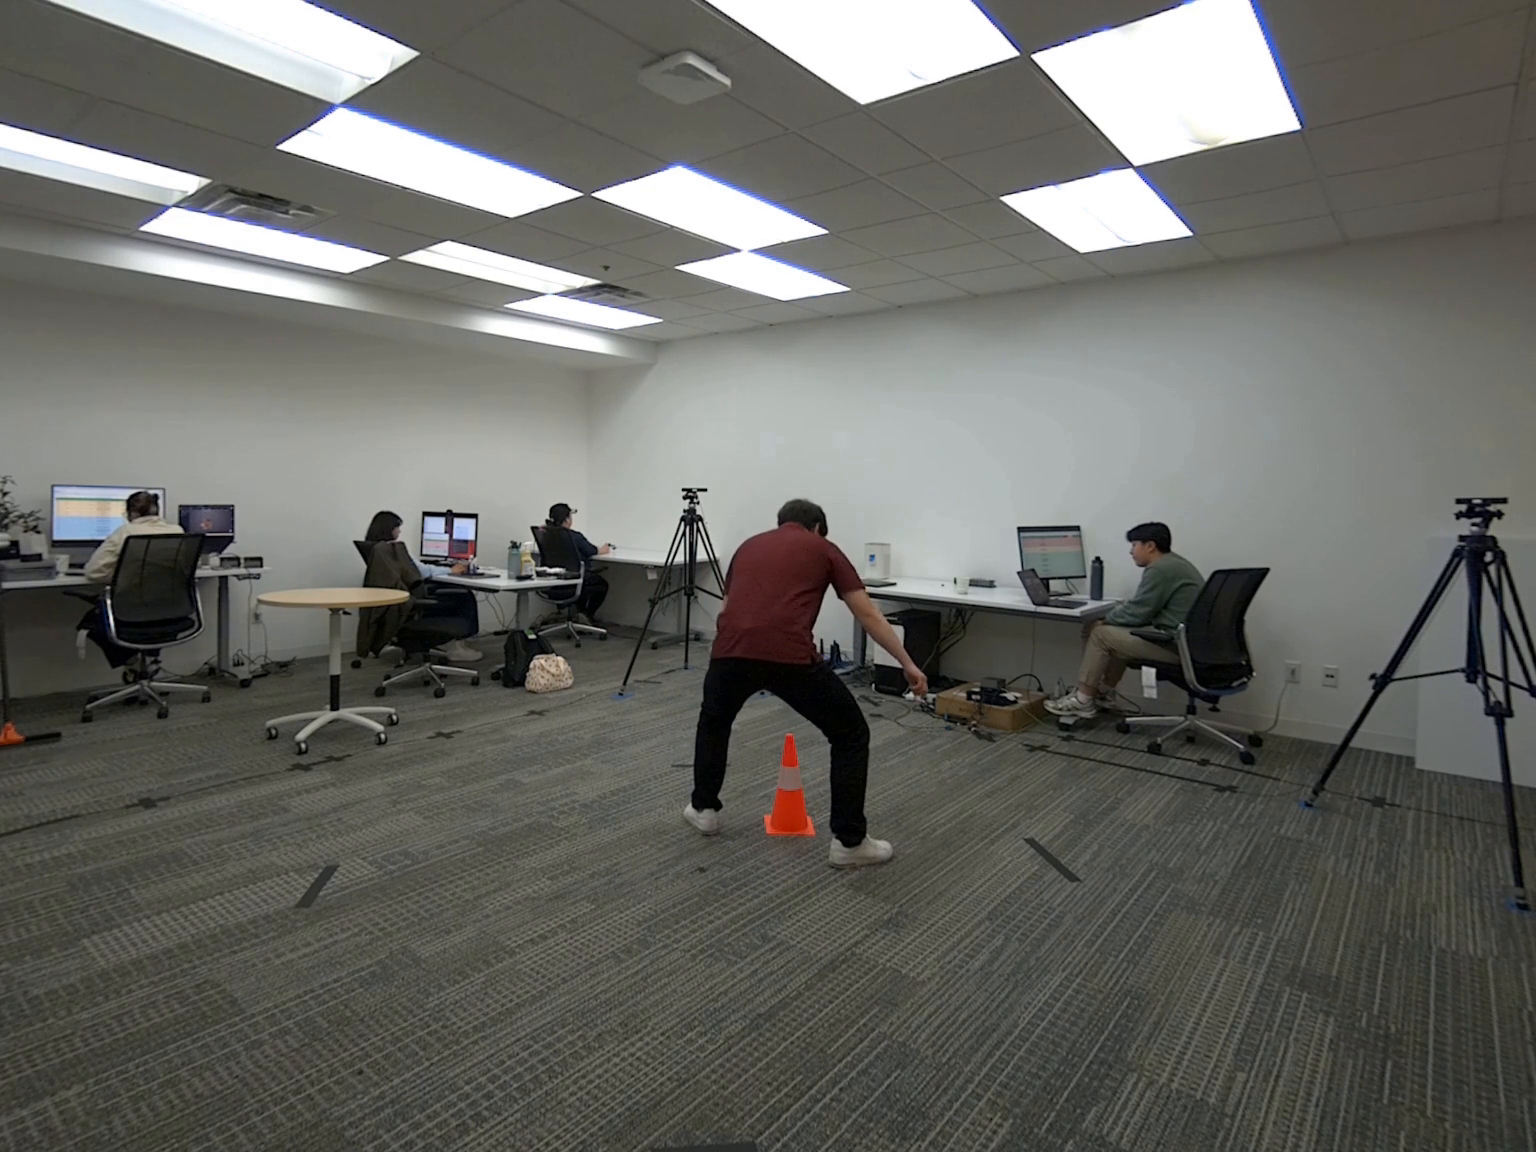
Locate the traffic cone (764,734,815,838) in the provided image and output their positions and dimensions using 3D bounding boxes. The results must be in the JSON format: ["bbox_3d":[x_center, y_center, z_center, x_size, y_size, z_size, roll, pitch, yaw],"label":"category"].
[{"bbox_3d":[0.080,0.853,3.535,0.204,0.383,0.205,1,3,0],"label":"traffic cone"}]
